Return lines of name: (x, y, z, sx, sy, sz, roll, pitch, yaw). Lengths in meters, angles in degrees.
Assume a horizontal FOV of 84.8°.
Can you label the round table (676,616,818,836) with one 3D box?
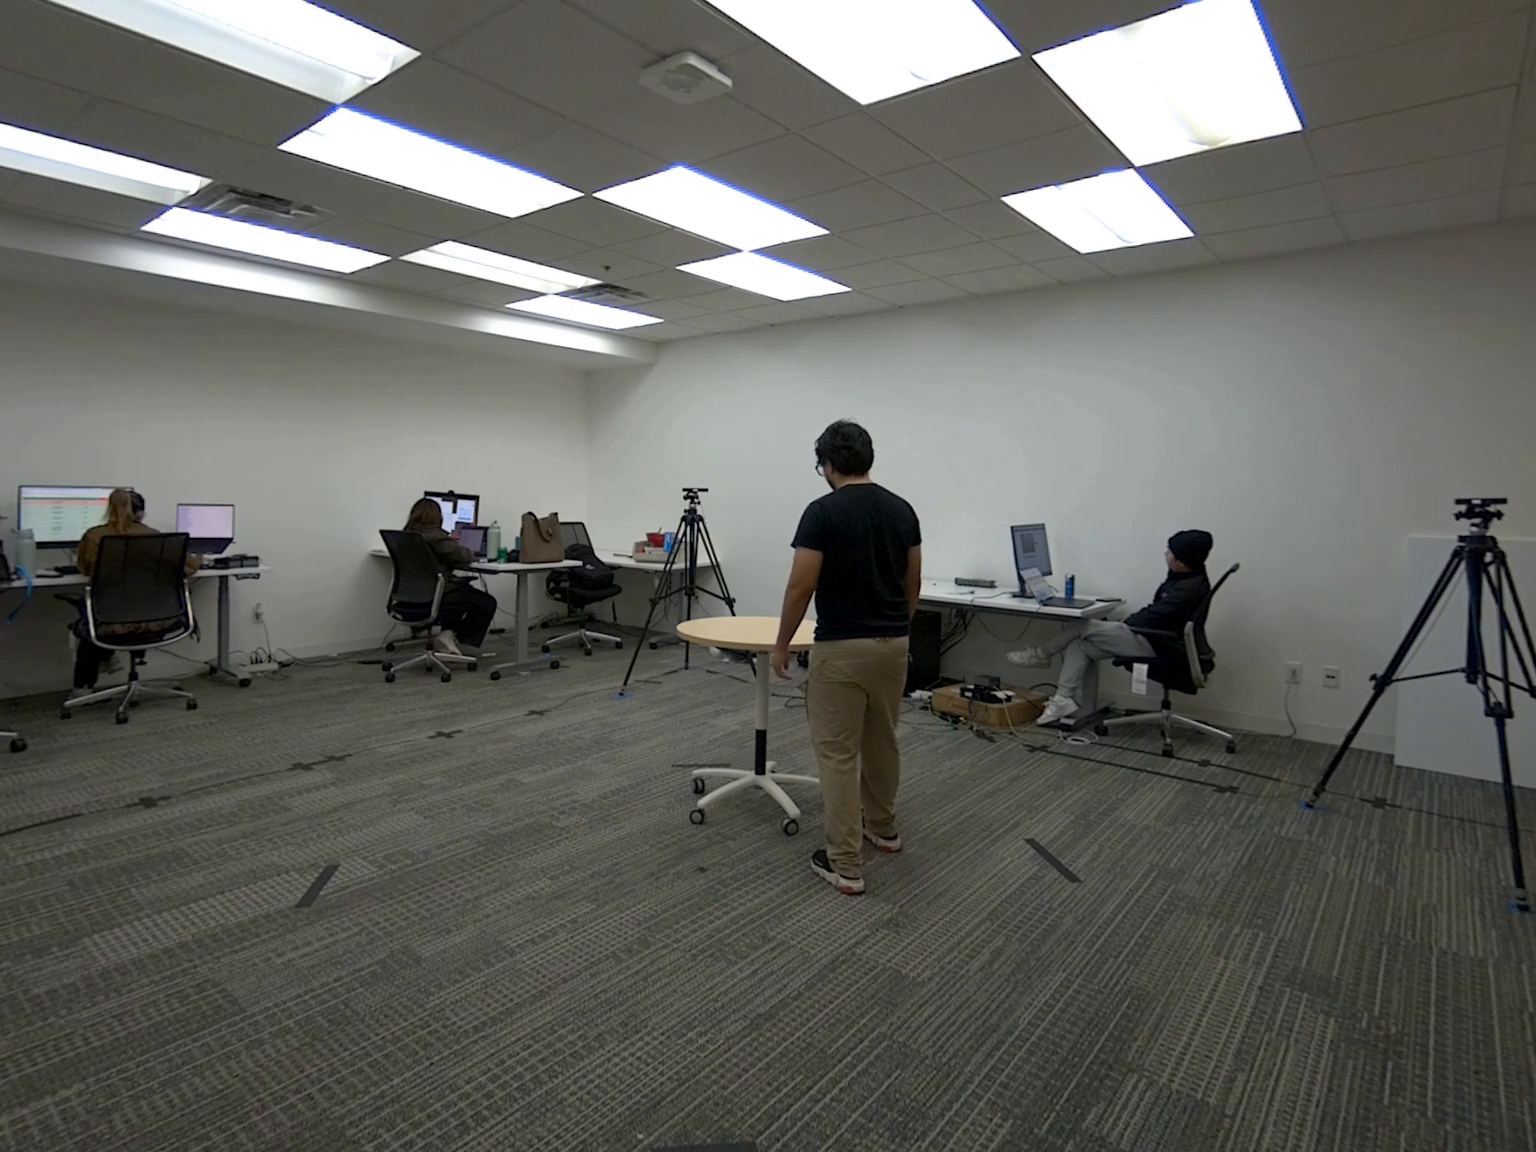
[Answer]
round table: (-0.038, 0.617, 3.752, 0.784, 0.784, 0.789, 1, 4, -2)
